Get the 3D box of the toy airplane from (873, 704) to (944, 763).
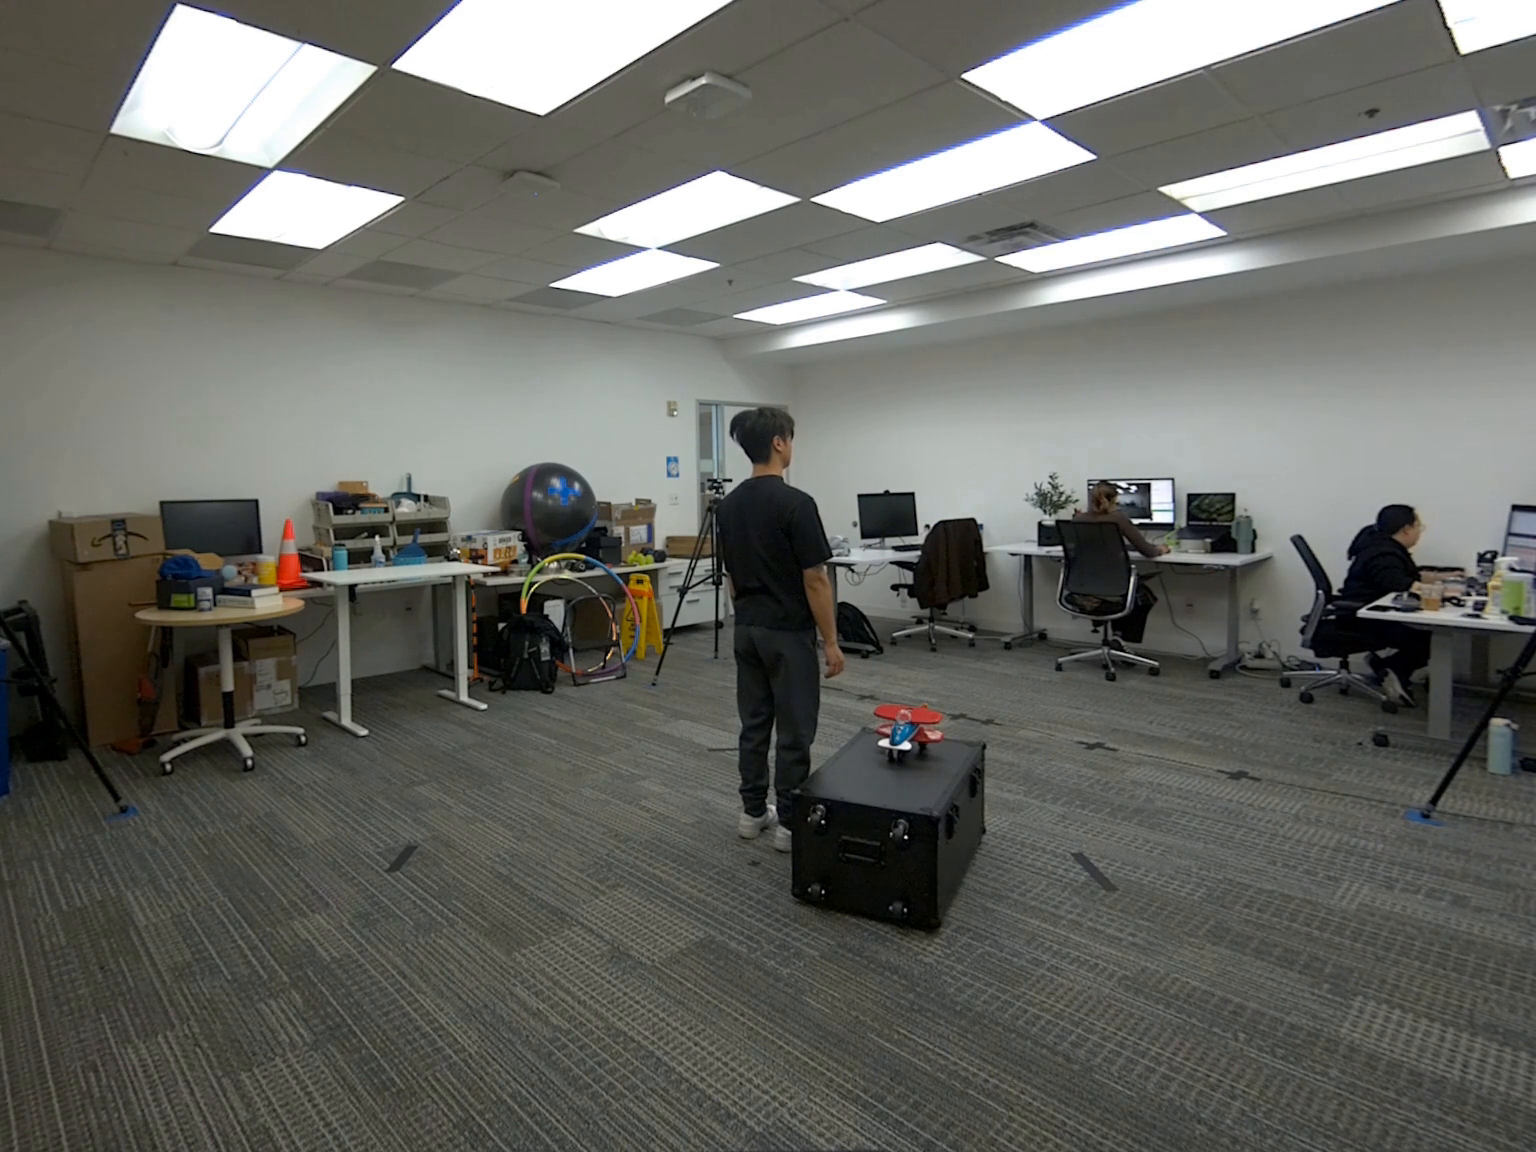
[{"bbox_3d":[0.524,0.572,3.150,0.252,0.156,0.259,-1,4,2],"label":"toy airplane"}]
